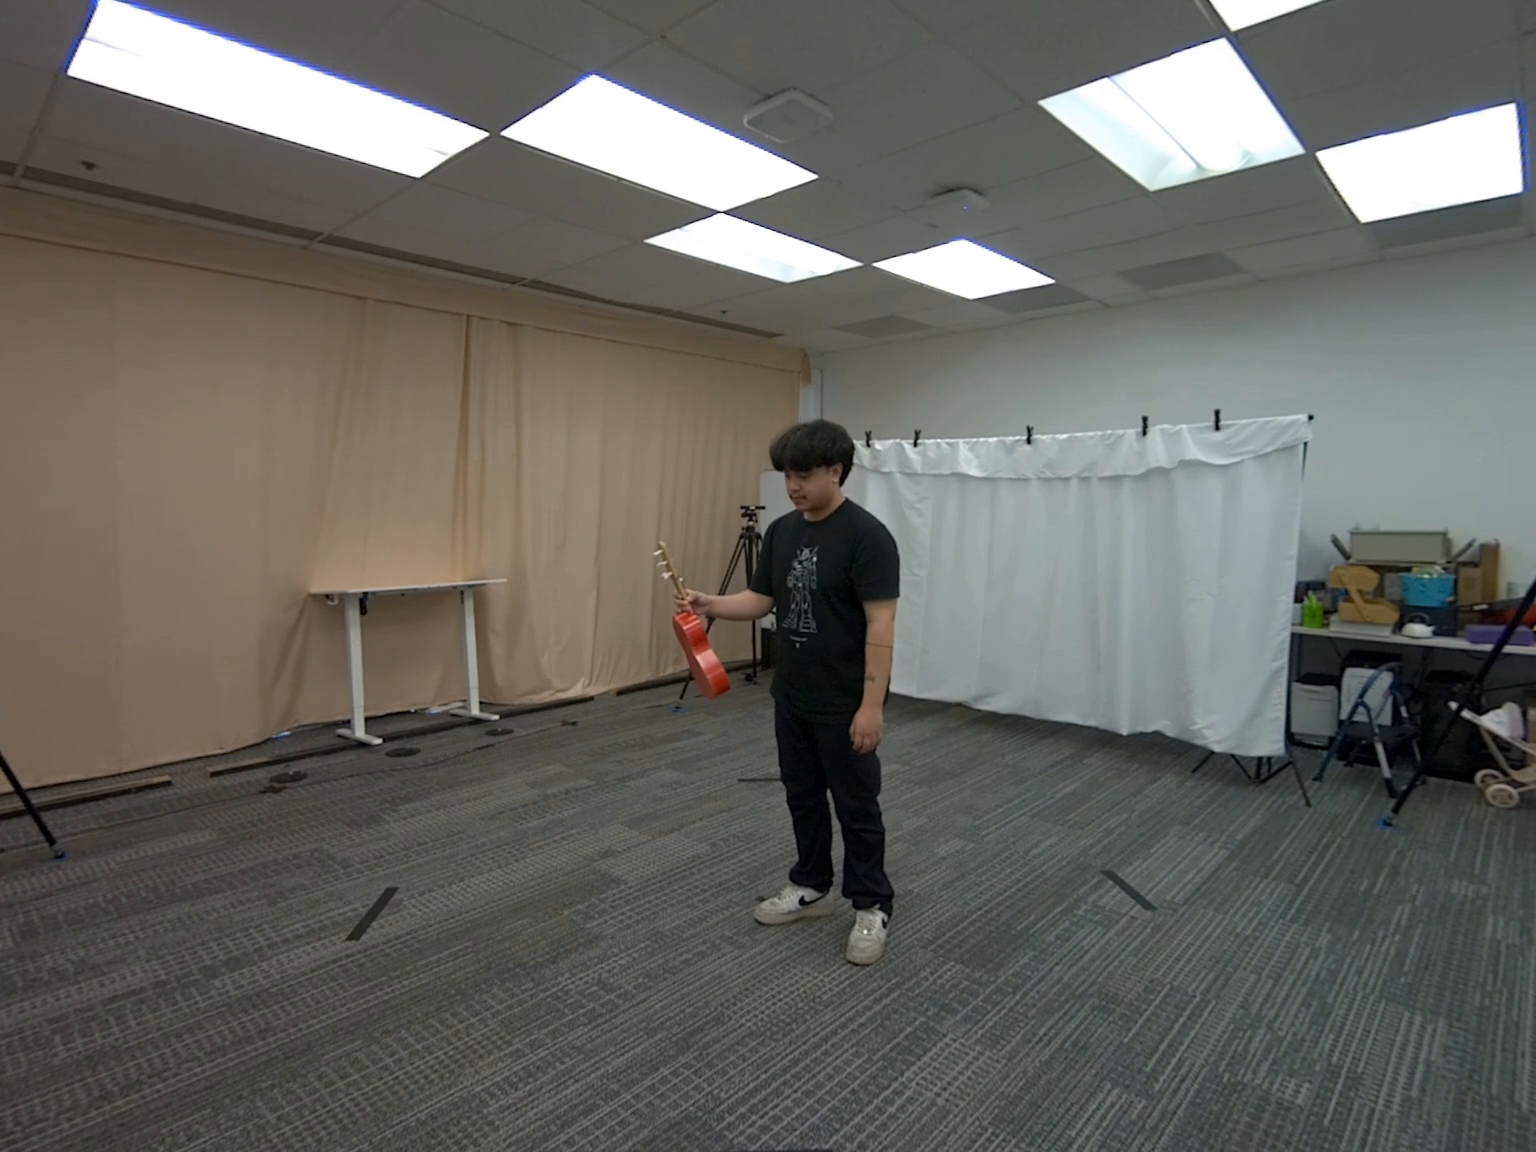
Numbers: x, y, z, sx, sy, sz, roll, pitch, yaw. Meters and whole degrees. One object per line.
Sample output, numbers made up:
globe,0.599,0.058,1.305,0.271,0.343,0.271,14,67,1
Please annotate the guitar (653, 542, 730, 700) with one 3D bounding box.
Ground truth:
guitar,-0.254,0.145,2.621,0.070,0.502,0.194,-23,-8,-18
